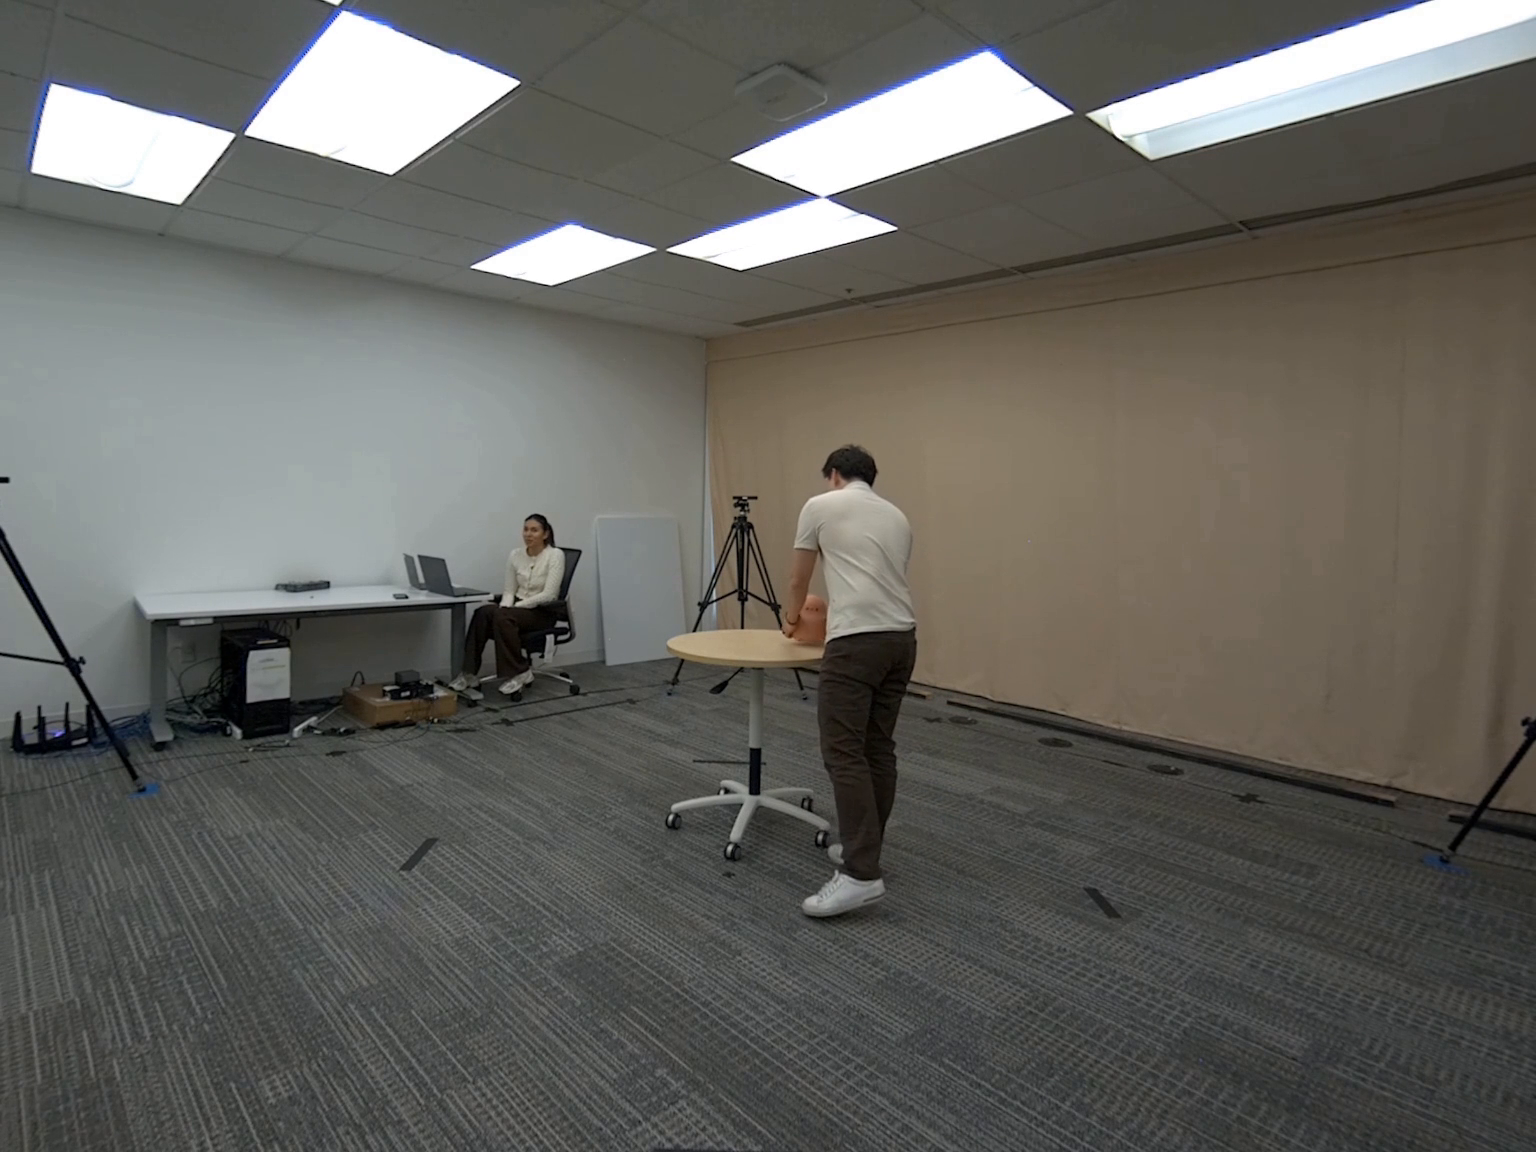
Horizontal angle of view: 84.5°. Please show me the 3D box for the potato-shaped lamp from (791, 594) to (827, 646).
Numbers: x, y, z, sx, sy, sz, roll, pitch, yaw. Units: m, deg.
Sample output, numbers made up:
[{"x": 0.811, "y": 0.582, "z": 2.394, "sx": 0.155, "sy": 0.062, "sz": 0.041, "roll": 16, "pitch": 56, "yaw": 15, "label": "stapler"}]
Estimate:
[{"x": 0.168, "y": 0.169, "z": 3.531, "sx": 0.164, "sy": 0.197, "sz": 0.172, "roll": 5, "pitch": 7, "yaw": -3, "label": "potato-shaped lamp"}]
